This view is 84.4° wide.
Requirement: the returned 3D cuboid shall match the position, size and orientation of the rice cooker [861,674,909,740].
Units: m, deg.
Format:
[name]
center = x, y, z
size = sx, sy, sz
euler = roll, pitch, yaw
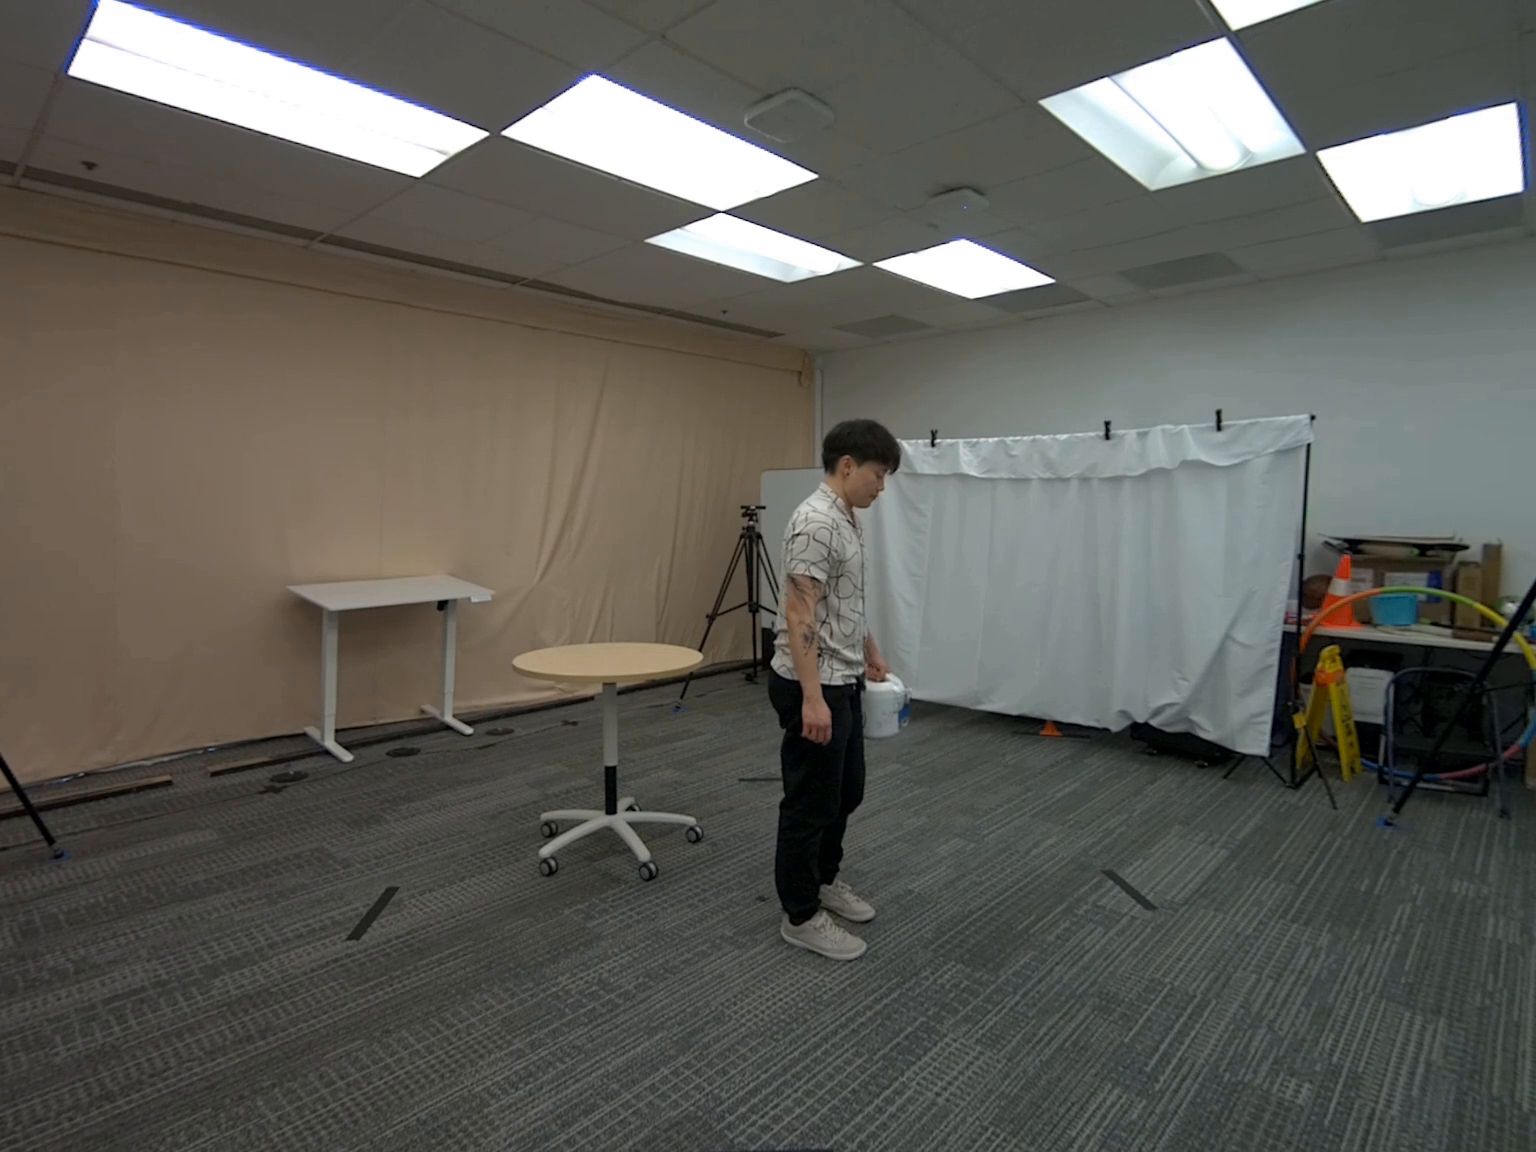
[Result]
[rice cooker]
center = 0.378, 0.444, 2.980
size = 0.228, 0.231, 0.211
euler = 7, 10, 36
